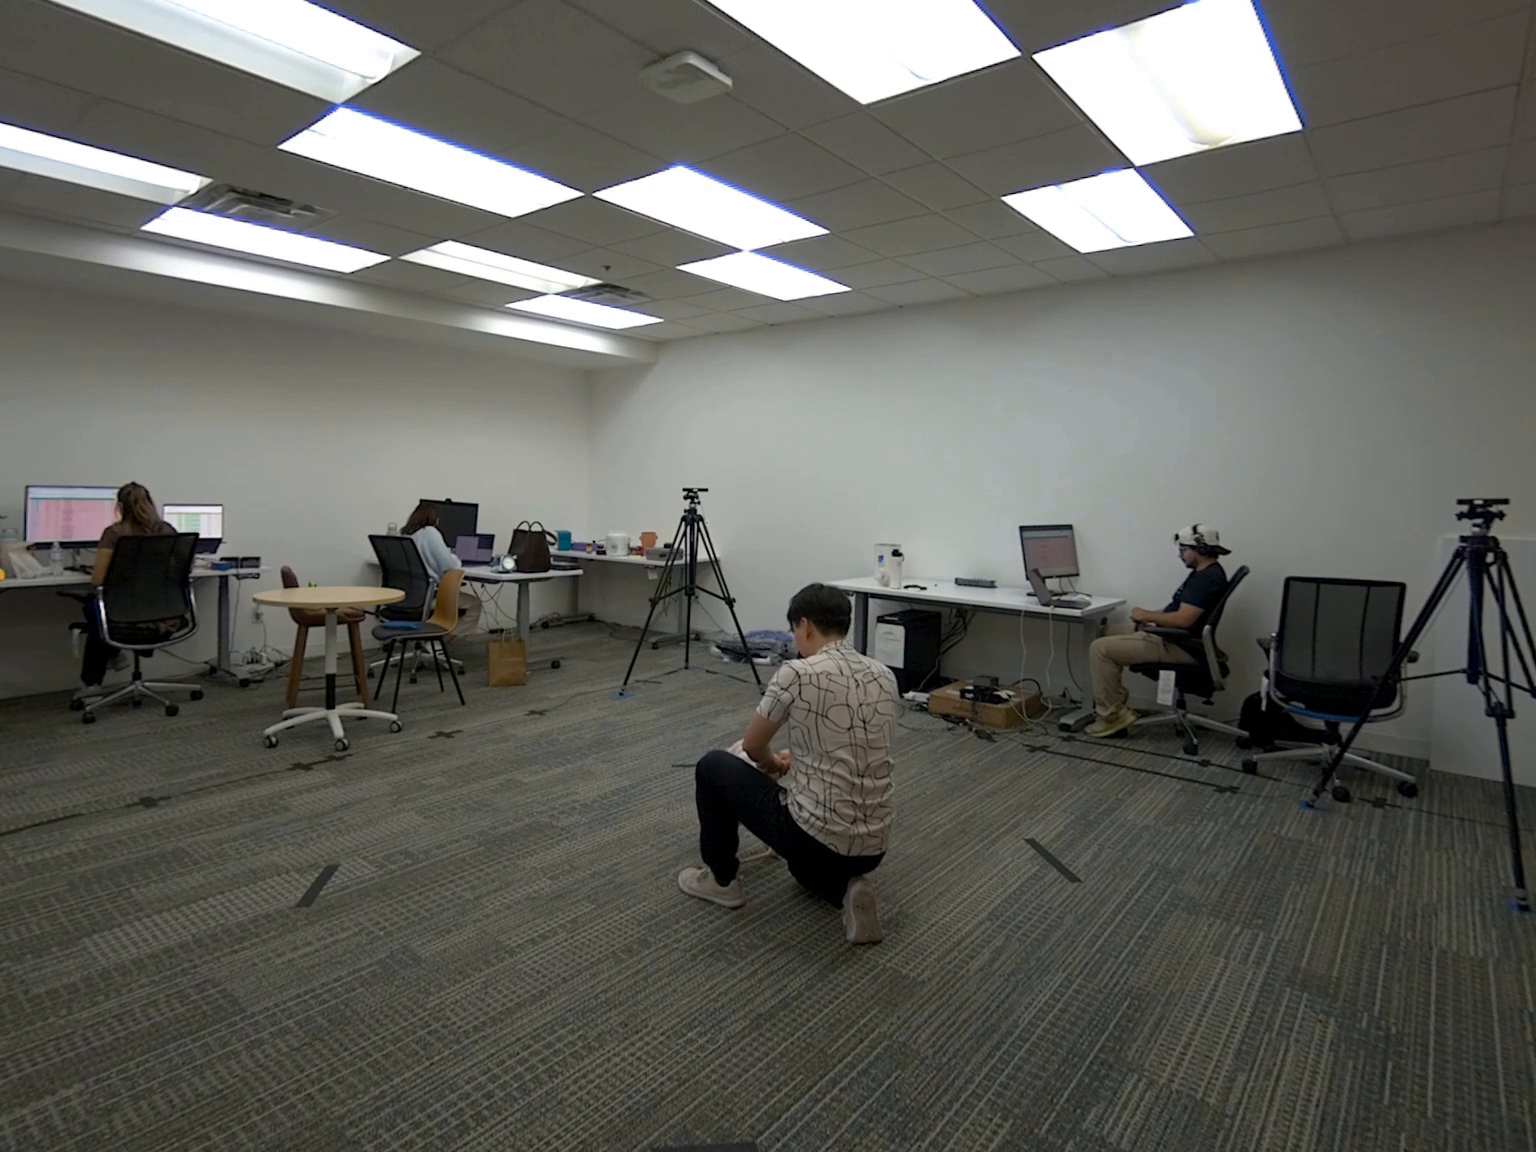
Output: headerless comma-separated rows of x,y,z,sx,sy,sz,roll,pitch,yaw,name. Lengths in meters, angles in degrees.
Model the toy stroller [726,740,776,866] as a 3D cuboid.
-0.115,0.833,3.198,0.273,0.529,0.356,-1,21,-37,toy stroller
